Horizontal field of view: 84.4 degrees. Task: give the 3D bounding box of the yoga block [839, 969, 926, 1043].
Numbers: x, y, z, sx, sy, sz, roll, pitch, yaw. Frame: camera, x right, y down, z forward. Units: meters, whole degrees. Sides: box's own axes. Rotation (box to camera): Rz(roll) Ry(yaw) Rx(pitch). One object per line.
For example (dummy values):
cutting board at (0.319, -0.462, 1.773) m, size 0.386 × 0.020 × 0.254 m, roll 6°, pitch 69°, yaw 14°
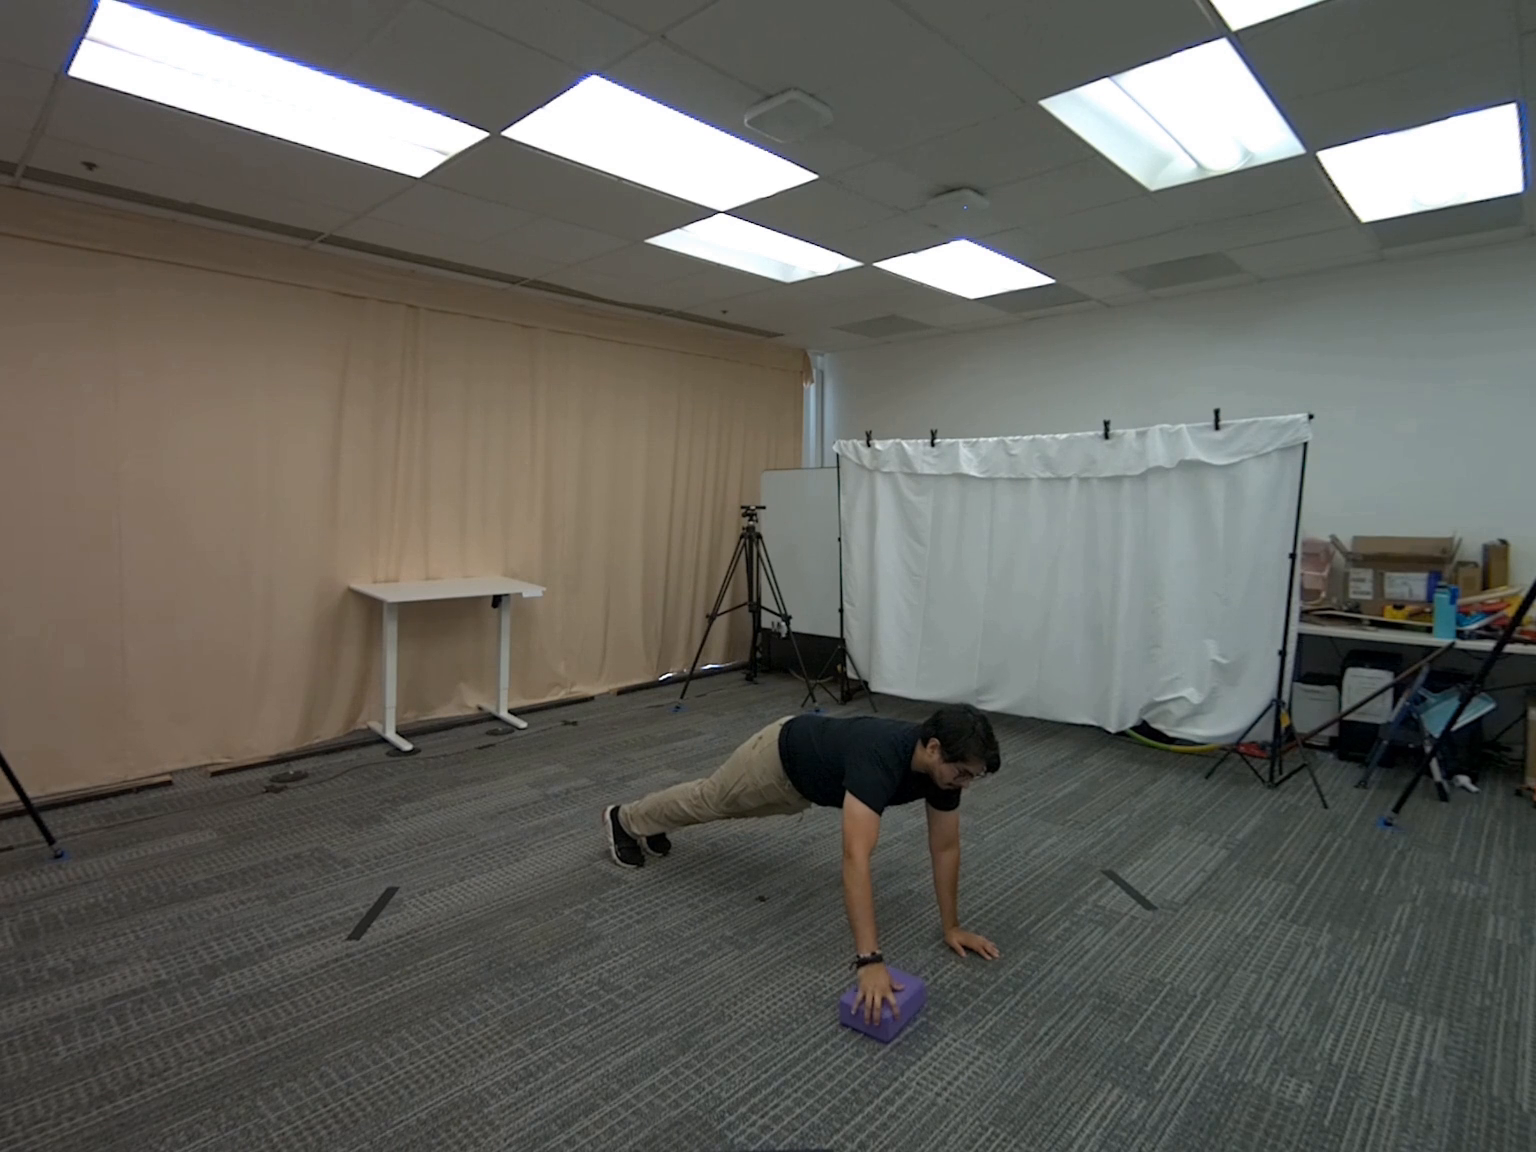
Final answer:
yoga block at (0.317, 1.160, 2.309) m, size 0.154 × 0.076 × 0.223 m, roll 5°, pitch 7°, yaw 36°
